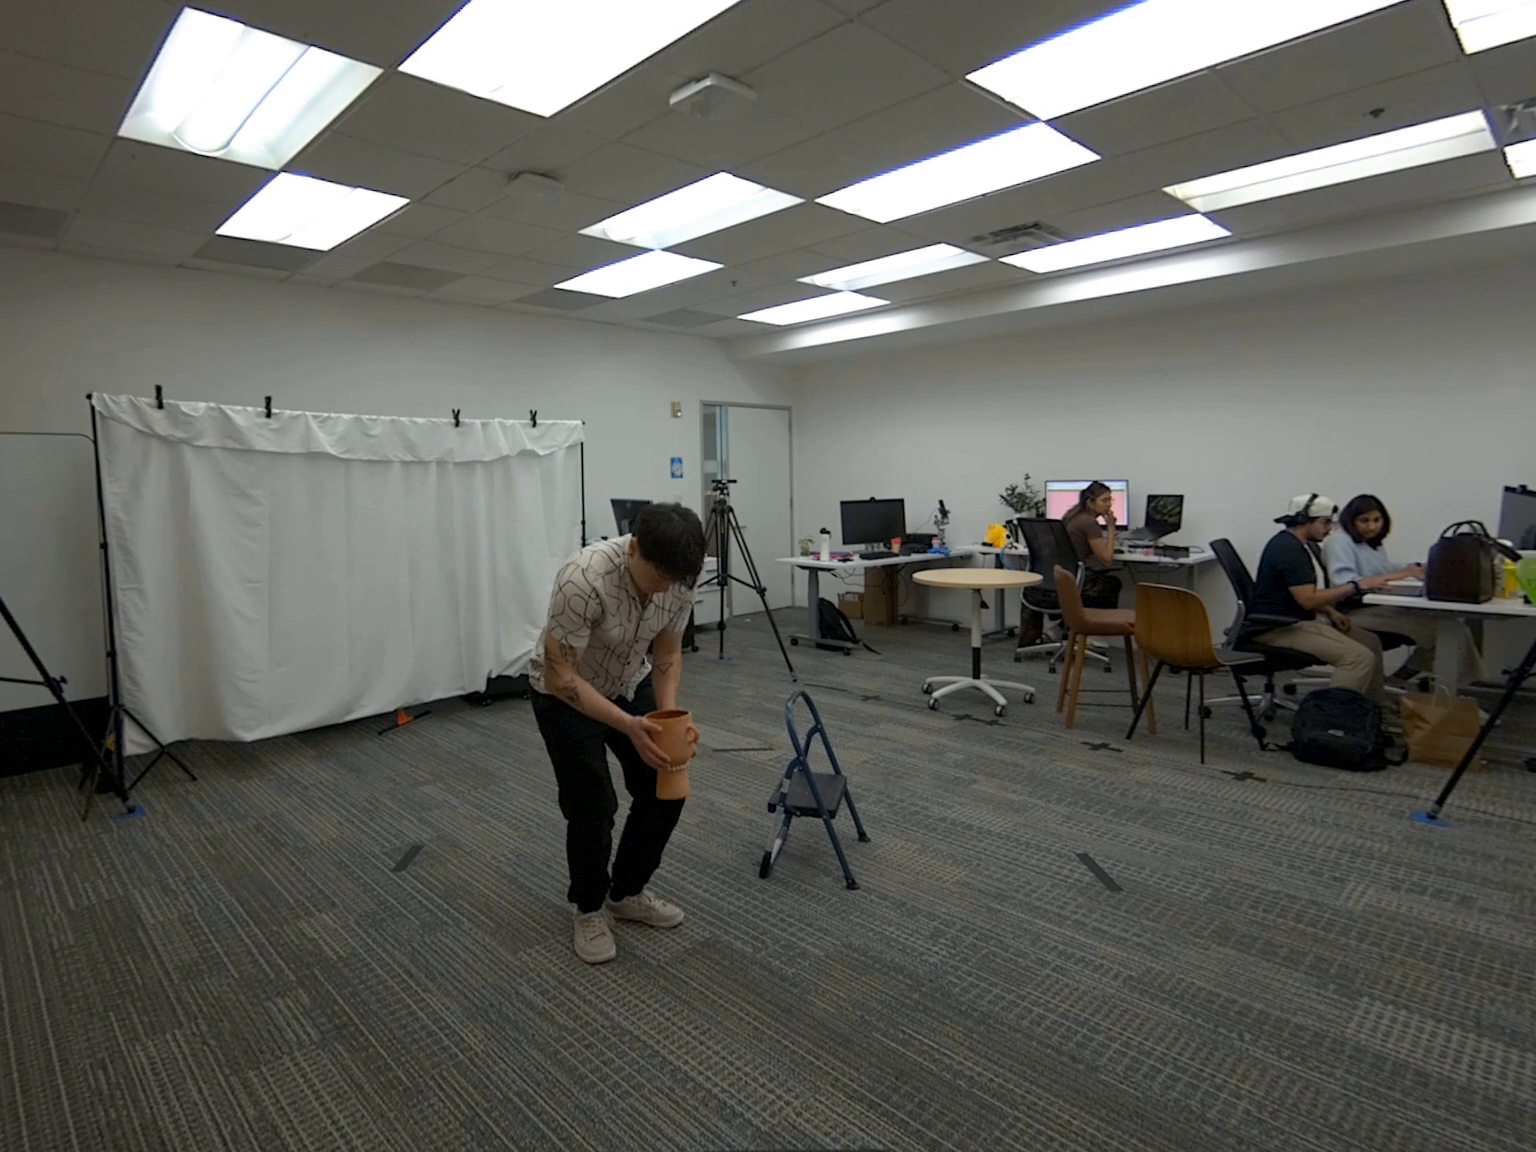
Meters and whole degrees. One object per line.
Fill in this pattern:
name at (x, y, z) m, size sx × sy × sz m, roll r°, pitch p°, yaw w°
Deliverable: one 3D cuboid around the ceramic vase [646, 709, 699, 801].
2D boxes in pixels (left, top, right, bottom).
ceramic vase at (-0.267, 0.493, 2.352) m, size 0.132 × 0.220 × 0.162 m, roll -6°, pitch 0°, yaw -24°
